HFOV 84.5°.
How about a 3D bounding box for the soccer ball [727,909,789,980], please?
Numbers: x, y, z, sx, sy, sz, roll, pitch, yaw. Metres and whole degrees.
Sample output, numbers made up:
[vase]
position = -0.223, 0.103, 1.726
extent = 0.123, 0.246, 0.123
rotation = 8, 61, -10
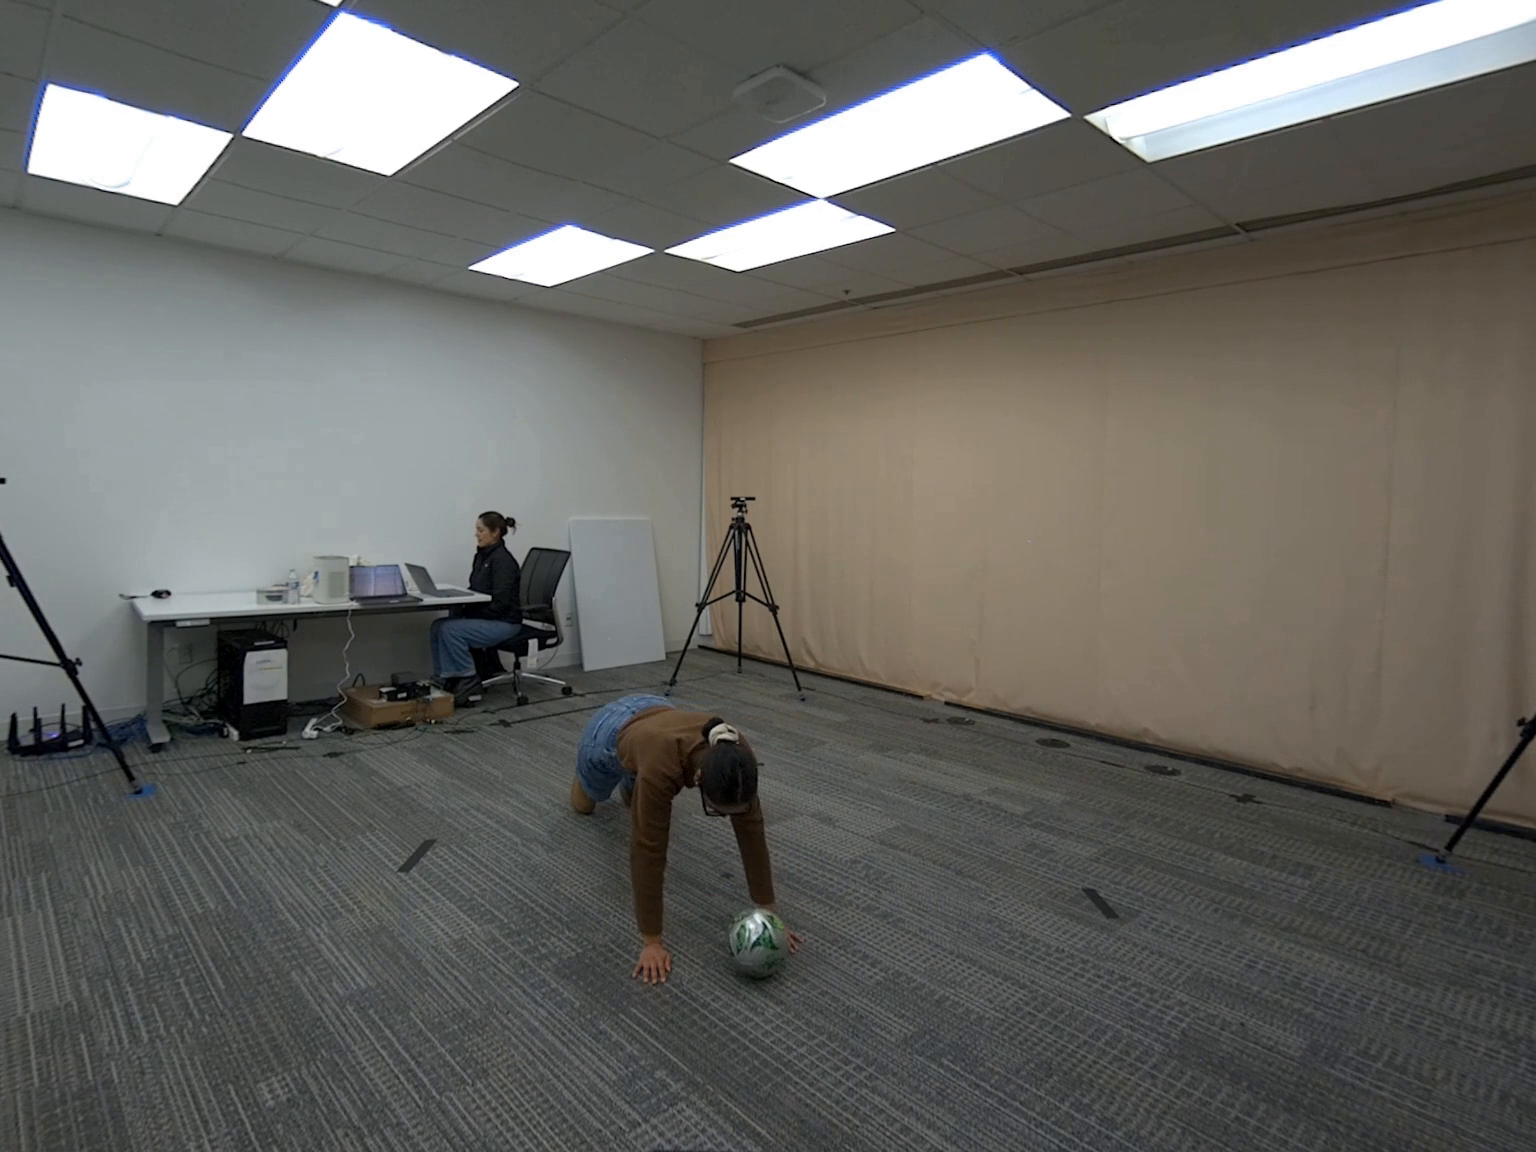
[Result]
[soccer ball]
position = -0.040, 1.082, 2.455
extent = 0.187, 0.187, 0.188
rotation = 1, 4, -1
